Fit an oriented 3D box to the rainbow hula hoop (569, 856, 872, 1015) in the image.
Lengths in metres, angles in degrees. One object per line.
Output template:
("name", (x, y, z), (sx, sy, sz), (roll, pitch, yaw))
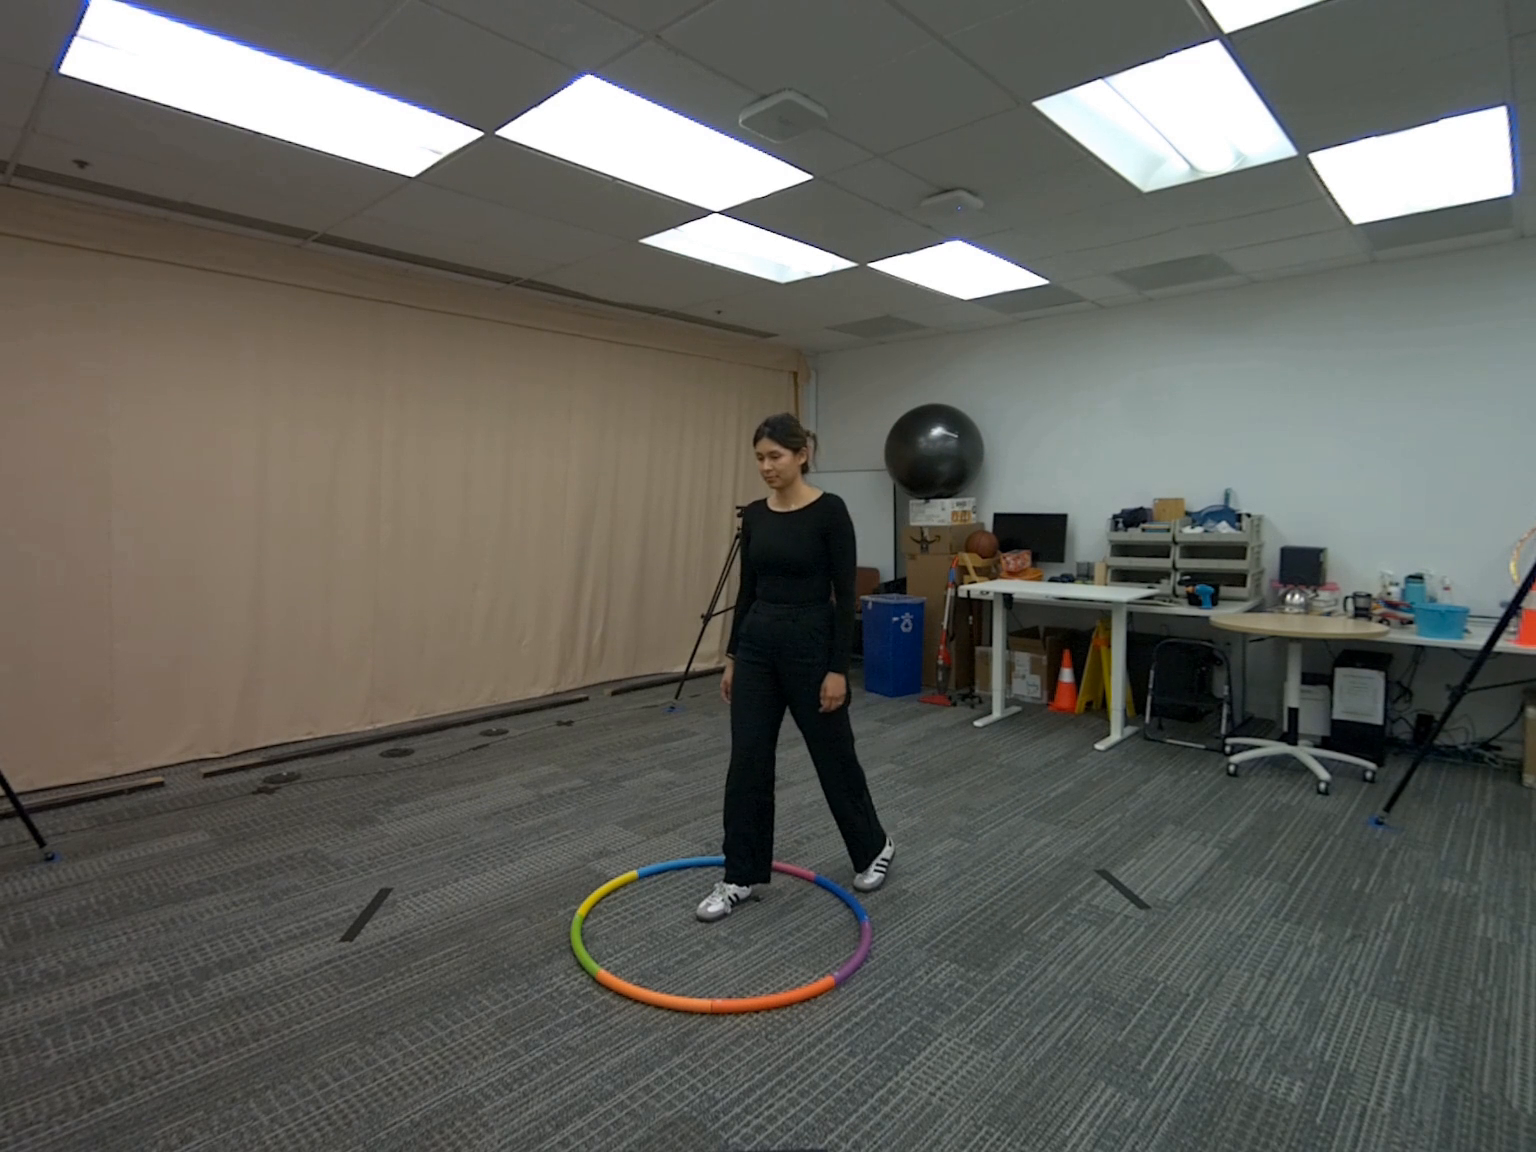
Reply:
("rainbow hula hoop", (-0.156, 1.135, 2.790), (0.978, 0.035, 0.982), (-1, 4, -2))
